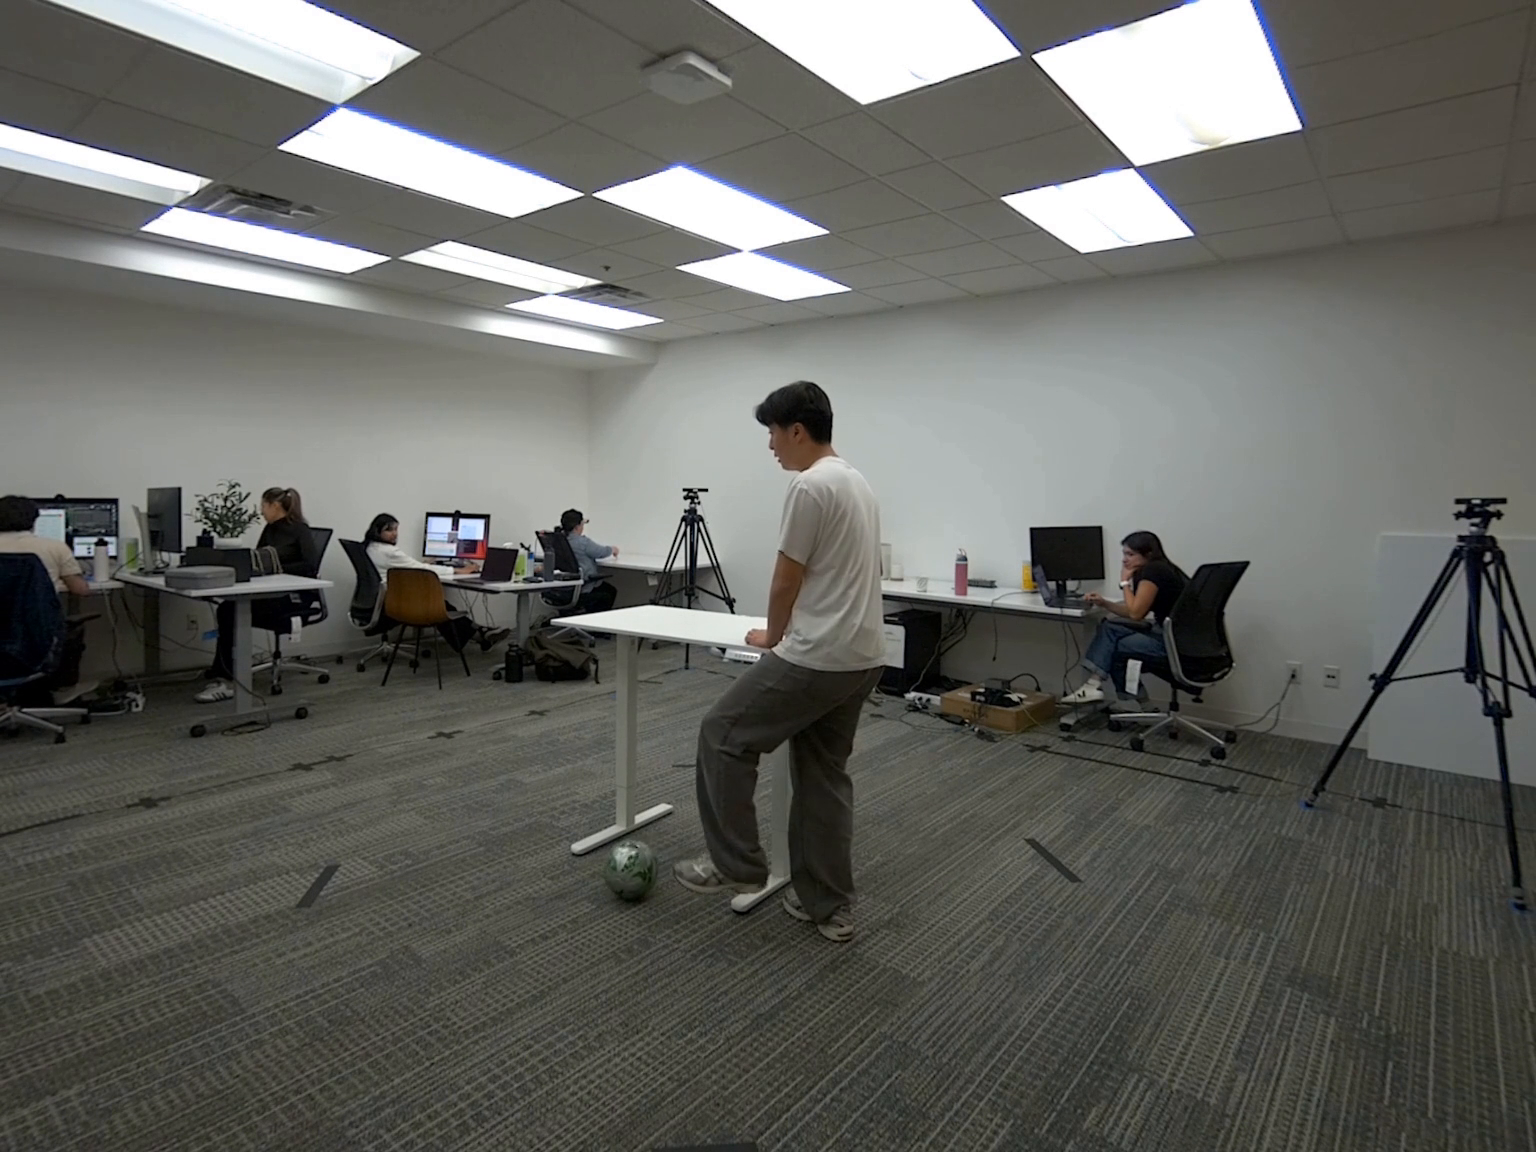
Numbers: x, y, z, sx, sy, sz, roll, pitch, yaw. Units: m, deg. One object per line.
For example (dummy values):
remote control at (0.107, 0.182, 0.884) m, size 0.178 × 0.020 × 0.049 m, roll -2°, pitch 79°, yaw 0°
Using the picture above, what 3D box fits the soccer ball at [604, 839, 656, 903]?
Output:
soccer ball at (-0.465, 0.986, 2.890) m, size 0.187 × 0.187 × 0.188 m, roll 1°, pitch 4°, yaw -2°
